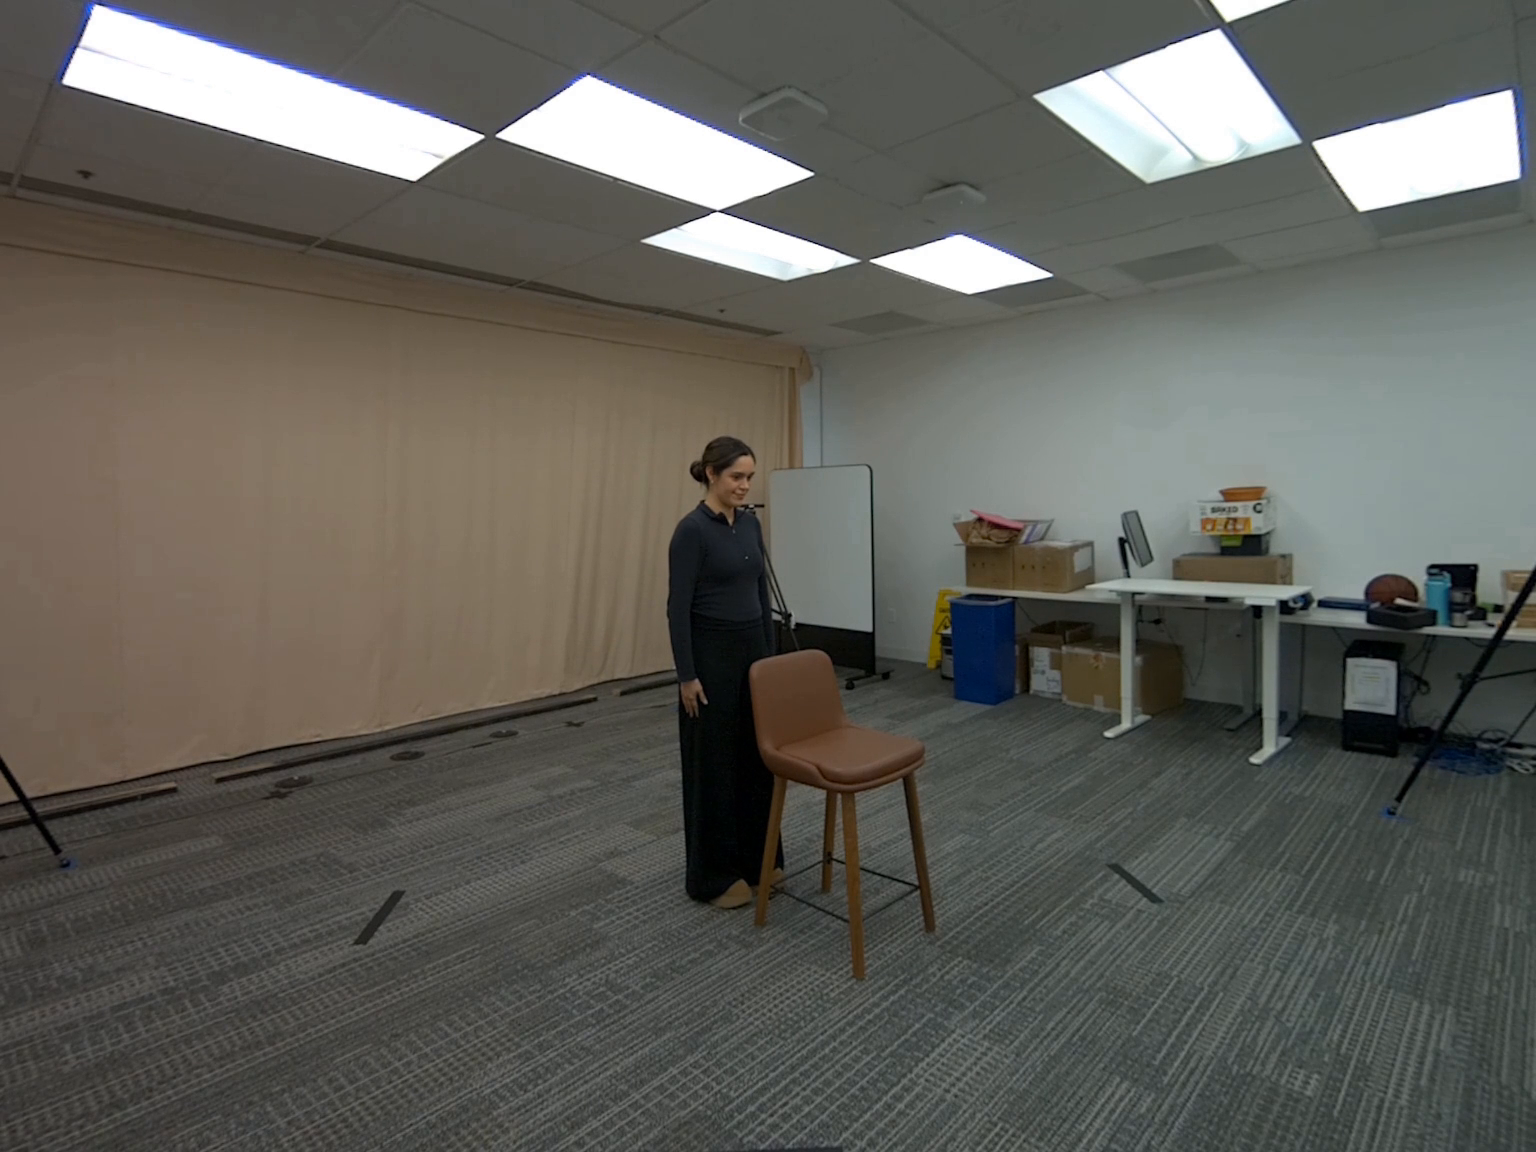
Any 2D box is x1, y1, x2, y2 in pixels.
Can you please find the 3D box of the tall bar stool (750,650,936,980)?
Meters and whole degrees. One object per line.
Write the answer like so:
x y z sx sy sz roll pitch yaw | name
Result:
0.236 0.720 2.735 0.442 0.889 0.483 -4 3 -44 | tall bar stool
